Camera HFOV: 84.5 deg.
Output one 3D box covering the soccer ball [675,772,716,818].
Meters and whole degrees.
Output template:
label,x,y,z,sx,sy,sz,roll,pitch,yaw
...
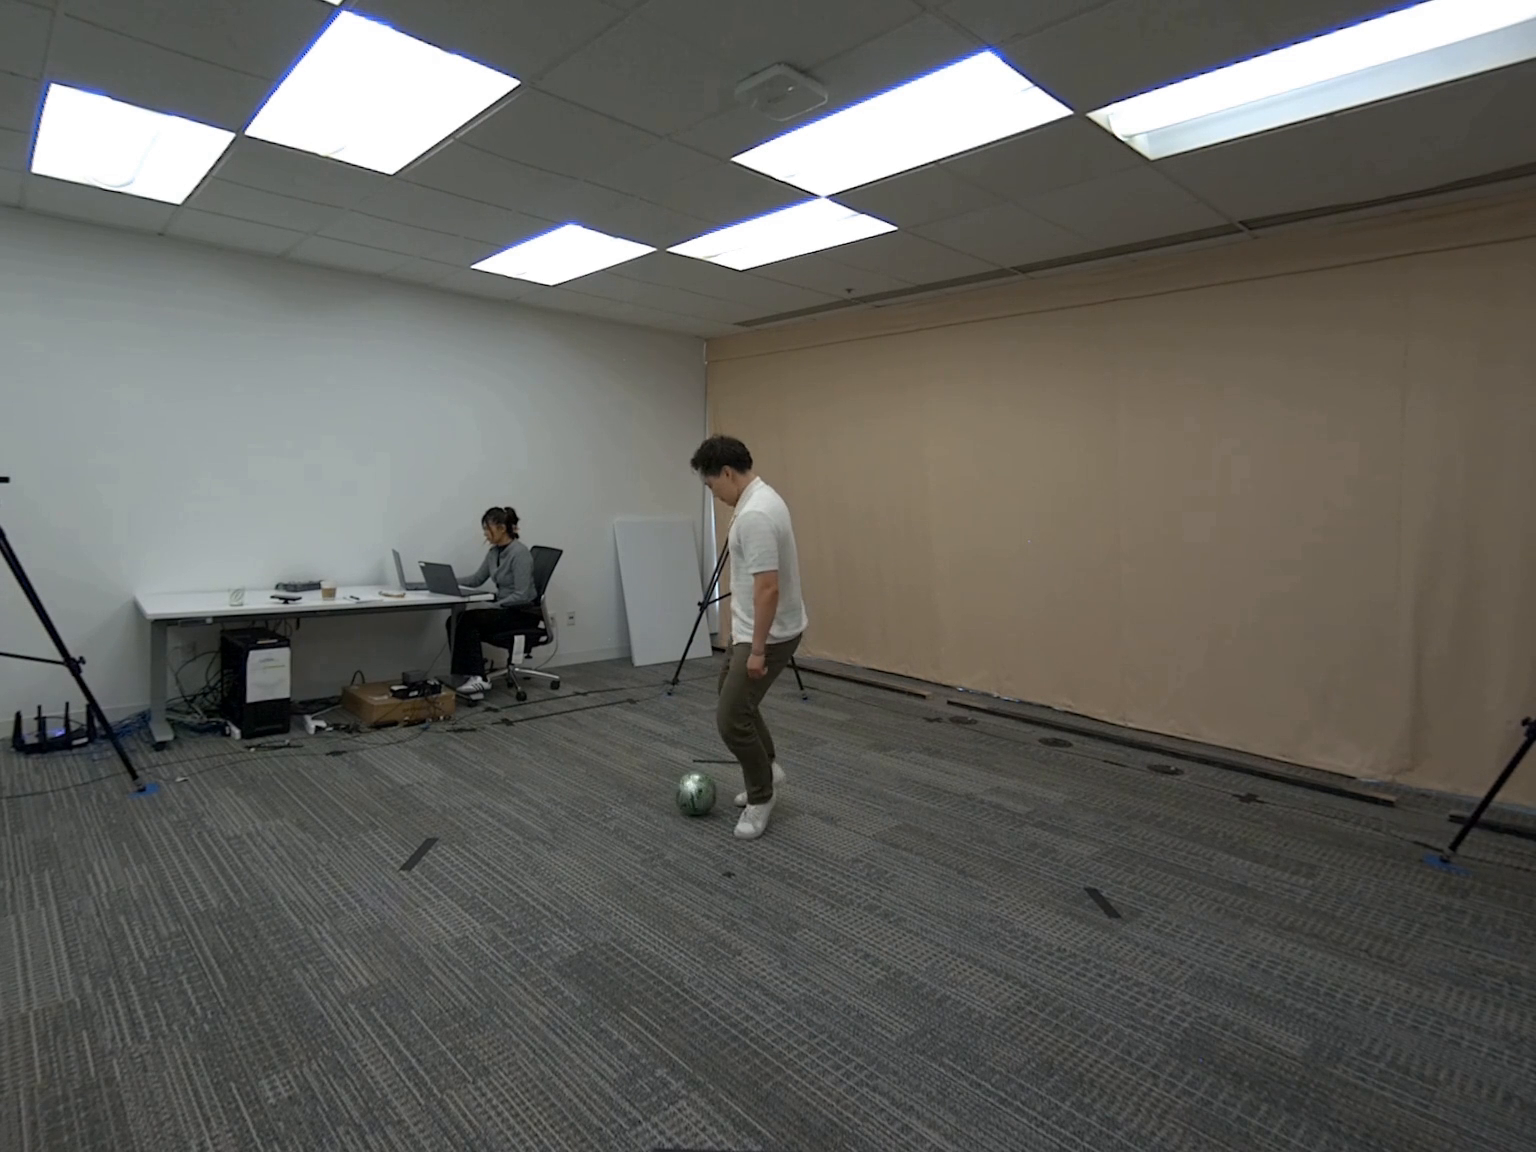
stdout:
label,x,y,z,sx,sy,sz,roll,pitch,yaw
soccer ball,-0.330,0.950,3.685,0.187,0.187,0.188,1,4,-1
